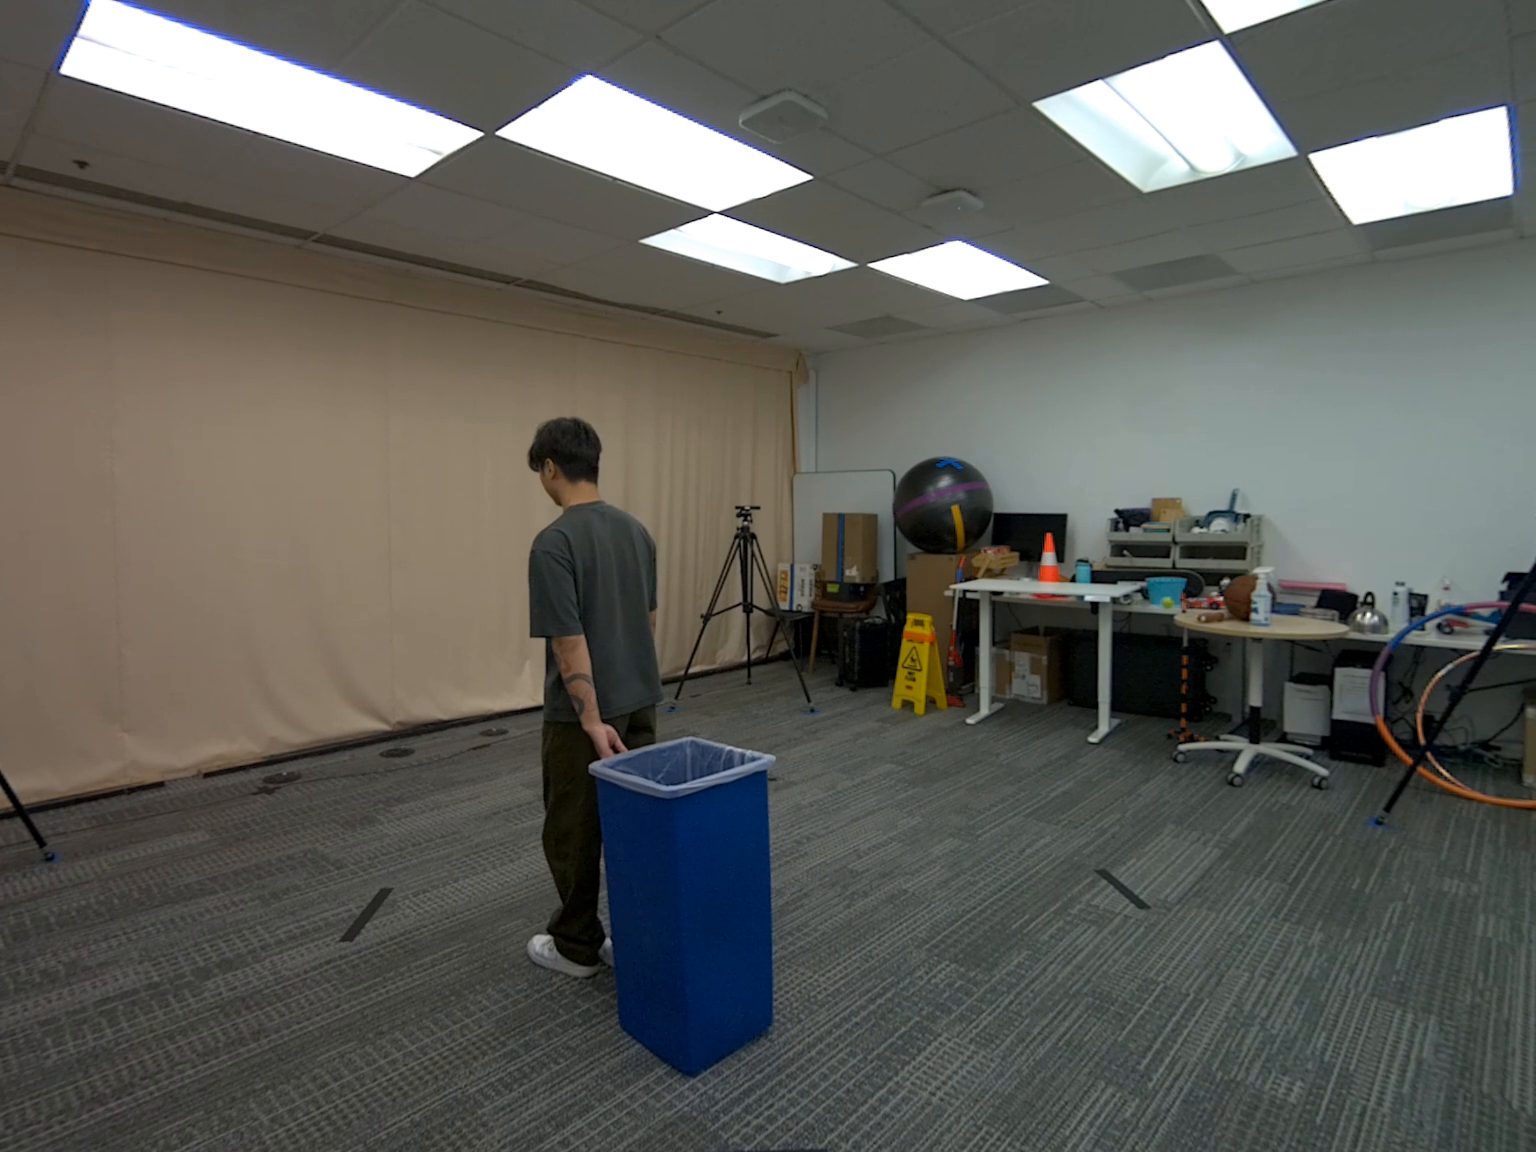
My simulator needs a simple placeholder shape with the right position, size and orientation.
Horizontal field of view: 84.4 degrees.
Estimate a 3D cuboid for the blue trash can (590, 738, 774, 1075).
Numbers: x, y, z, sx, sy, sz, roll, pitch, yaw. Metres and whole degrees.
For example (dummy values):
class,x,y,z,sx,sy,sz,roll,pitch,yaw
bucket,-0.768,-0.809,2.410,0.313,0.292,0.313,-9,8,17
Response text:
class,x,y,z,sx,sy,sz,roll,pitch,yaw
blue trash can,-0.206,0.845,2.227,0.362,0.713,0.390,-3,1,-45
